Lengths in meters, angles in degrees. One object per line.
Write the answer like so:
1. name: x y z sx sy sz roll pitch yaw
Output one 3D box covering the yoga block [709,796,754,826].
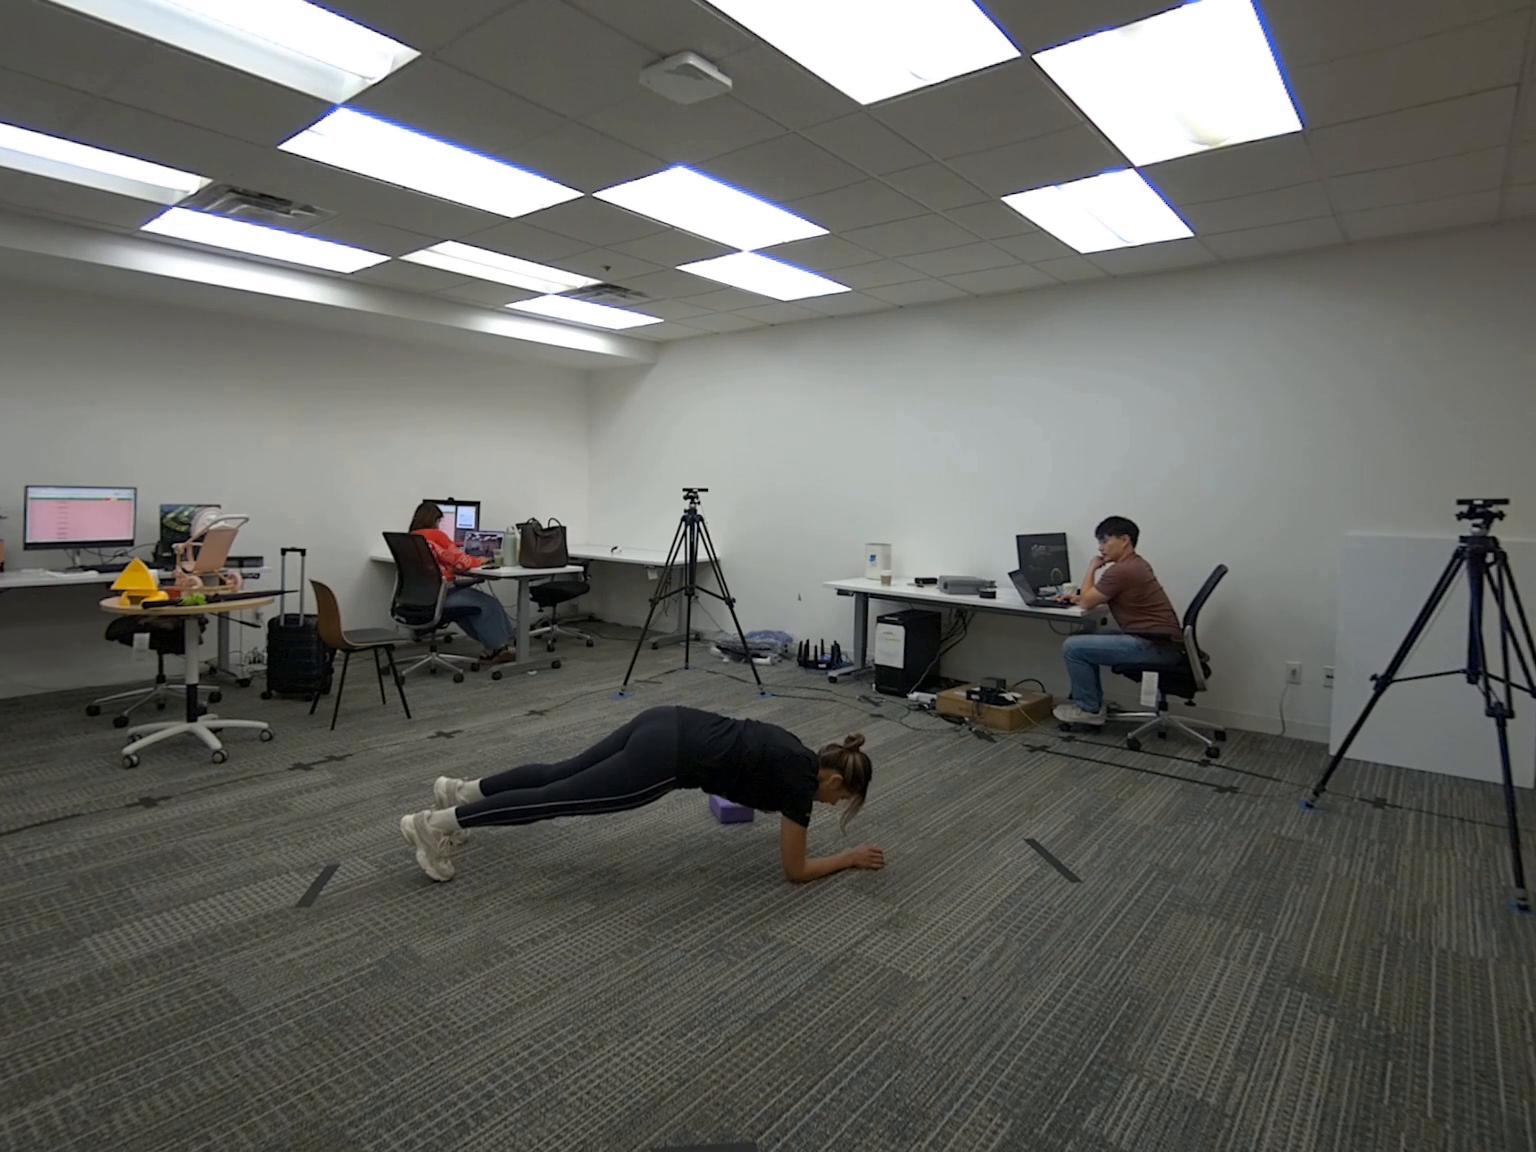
1. yoga block: -0.166 0.973 3.654 0.147 0.076 0.234 -3 7 -16
